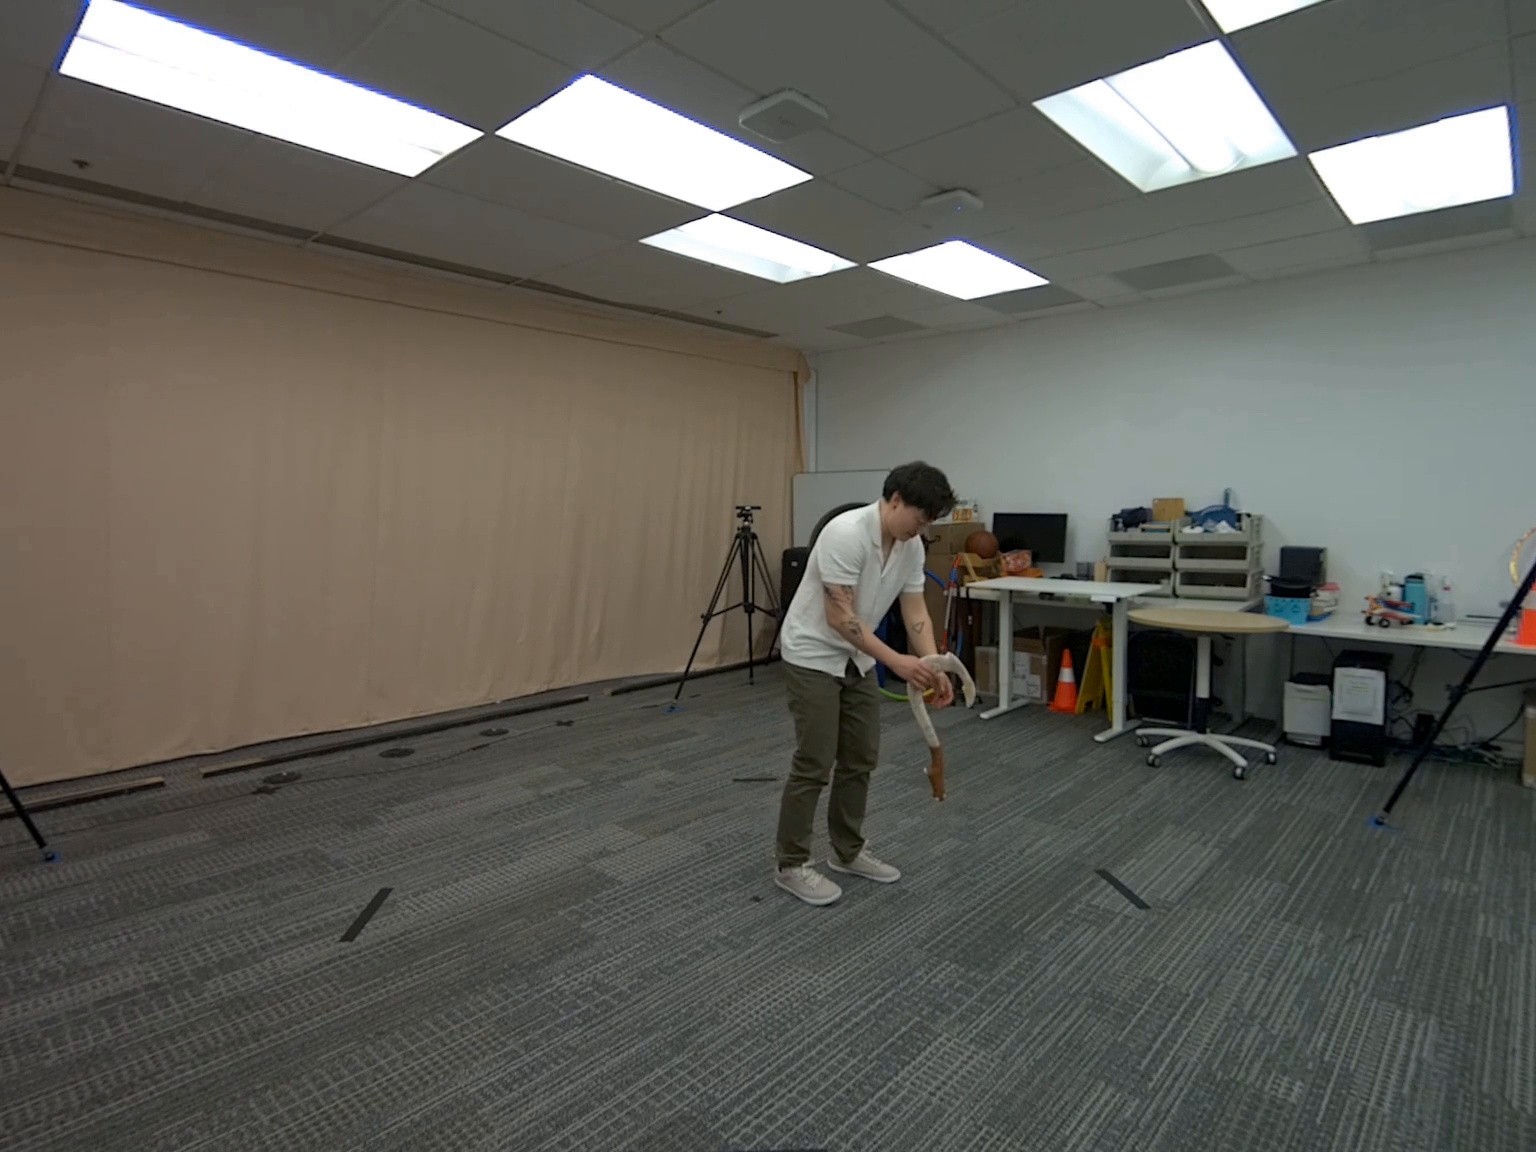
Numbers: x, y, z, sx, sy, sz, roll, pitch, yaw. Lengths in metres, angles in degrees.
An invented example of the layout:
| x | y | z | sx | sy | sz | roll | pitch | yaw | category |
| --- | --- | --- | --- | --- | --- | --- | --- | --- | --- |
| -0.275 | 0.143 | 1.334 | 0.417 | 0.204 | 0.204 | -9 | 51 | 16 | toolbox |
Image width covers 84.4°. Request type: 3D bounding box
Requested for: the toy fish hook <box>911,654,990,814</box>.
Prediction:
| x | y | z | sx | sy | sz | roll | pitch | yaw | category |
| --- | --- | --- | --- | --- | --- | --- | --- | --- | --- |
| 0.609 | 0.530 | 2.846 | 0.223 | 0.504 | 0.049 | -7 | 7 | -6 | toy fish hook |
